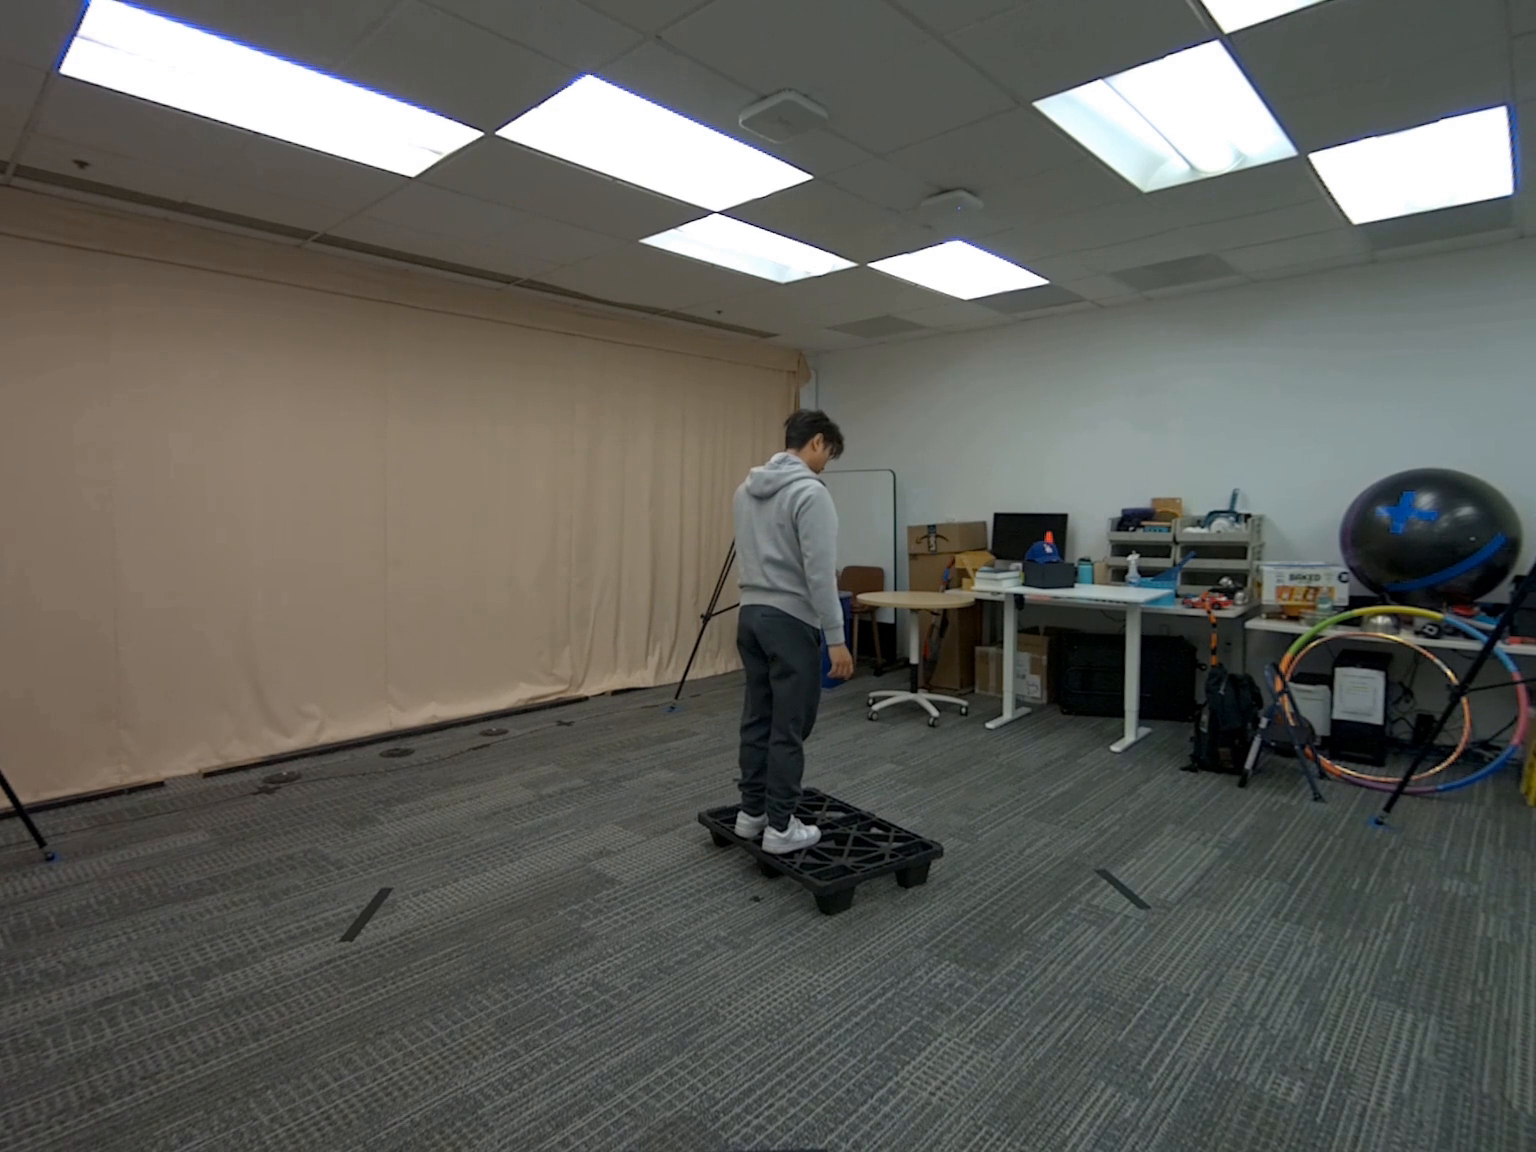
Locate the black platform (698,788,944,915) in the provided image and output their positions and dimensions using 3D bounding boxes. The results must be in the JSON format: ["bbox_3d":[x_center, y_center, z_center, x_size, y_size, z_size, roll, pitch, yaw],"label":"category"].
[{"bbox_3d":[0.181,1.052,3.277,0.588,0.143,0.831,-4,6,-34],"label":"black platform"}]
